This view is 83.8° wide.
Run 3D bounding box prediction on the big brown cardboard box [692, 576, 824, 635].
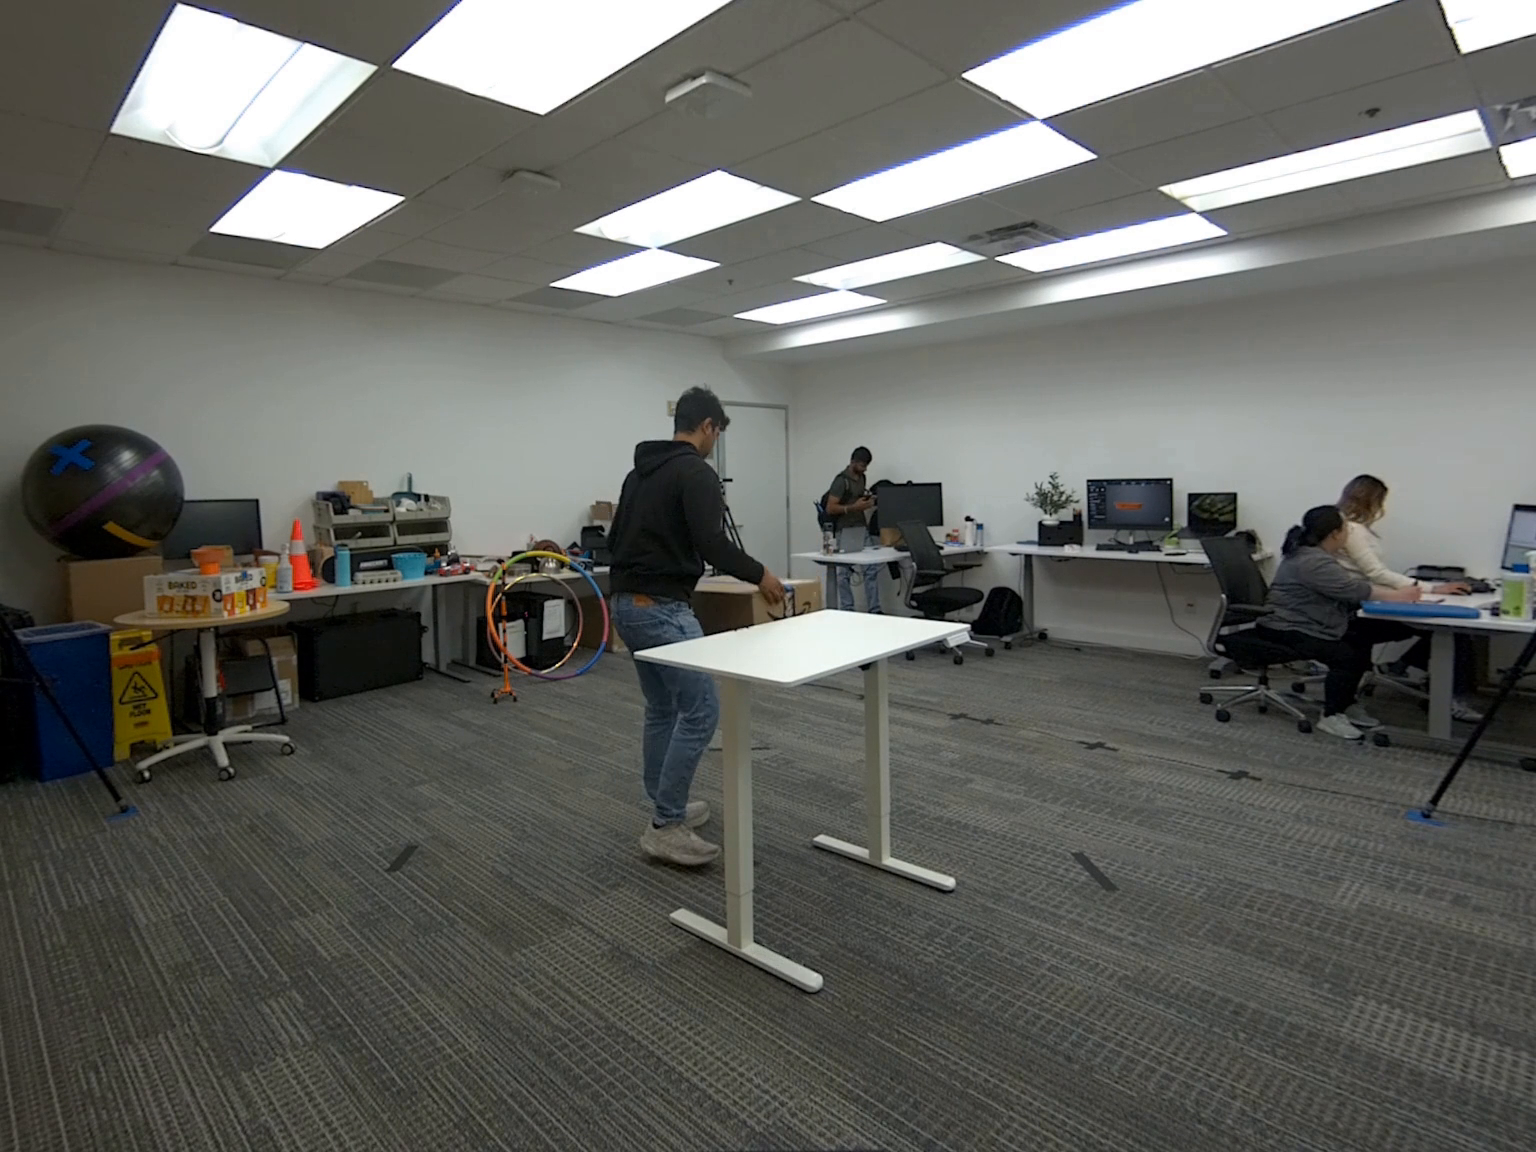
[{"bbox_3d":[-0.118,0.147,3.565,0.606,0.232,0.407,1,7,42],"label":"big brown cardboard box"}]
